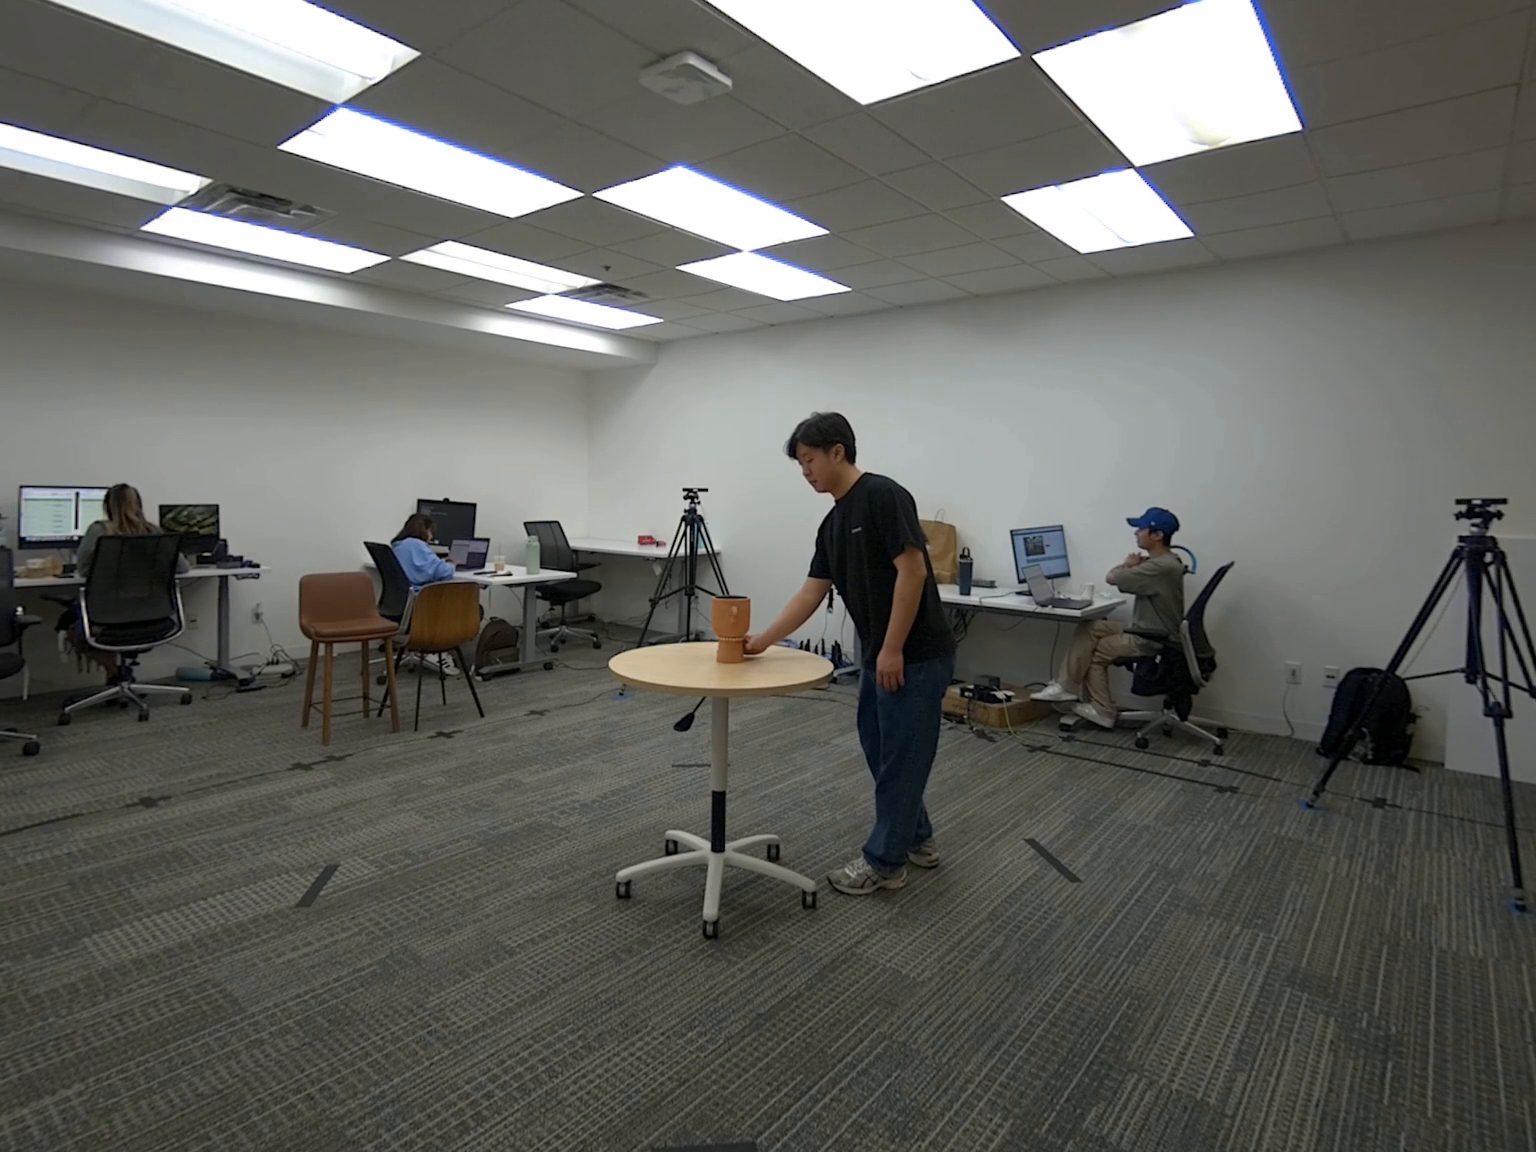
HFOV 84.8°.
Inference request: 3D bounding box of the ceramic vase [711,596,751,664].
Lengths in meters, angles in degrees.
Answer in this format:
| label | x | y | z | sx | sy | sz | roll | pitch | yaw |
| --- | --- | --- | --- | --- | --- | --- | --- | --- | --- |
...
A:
| label | x | y | z | sx | sy | sz | roll | pitch | yaw |
| --- | --- | --- | --- | --- | --- | --- | --- | --- | --- |
| ceramic vase | -0.135 | 0.181 | 2.940 | 0.138 | 0.219 | 0.155 | 2 | 3 | 29 |
